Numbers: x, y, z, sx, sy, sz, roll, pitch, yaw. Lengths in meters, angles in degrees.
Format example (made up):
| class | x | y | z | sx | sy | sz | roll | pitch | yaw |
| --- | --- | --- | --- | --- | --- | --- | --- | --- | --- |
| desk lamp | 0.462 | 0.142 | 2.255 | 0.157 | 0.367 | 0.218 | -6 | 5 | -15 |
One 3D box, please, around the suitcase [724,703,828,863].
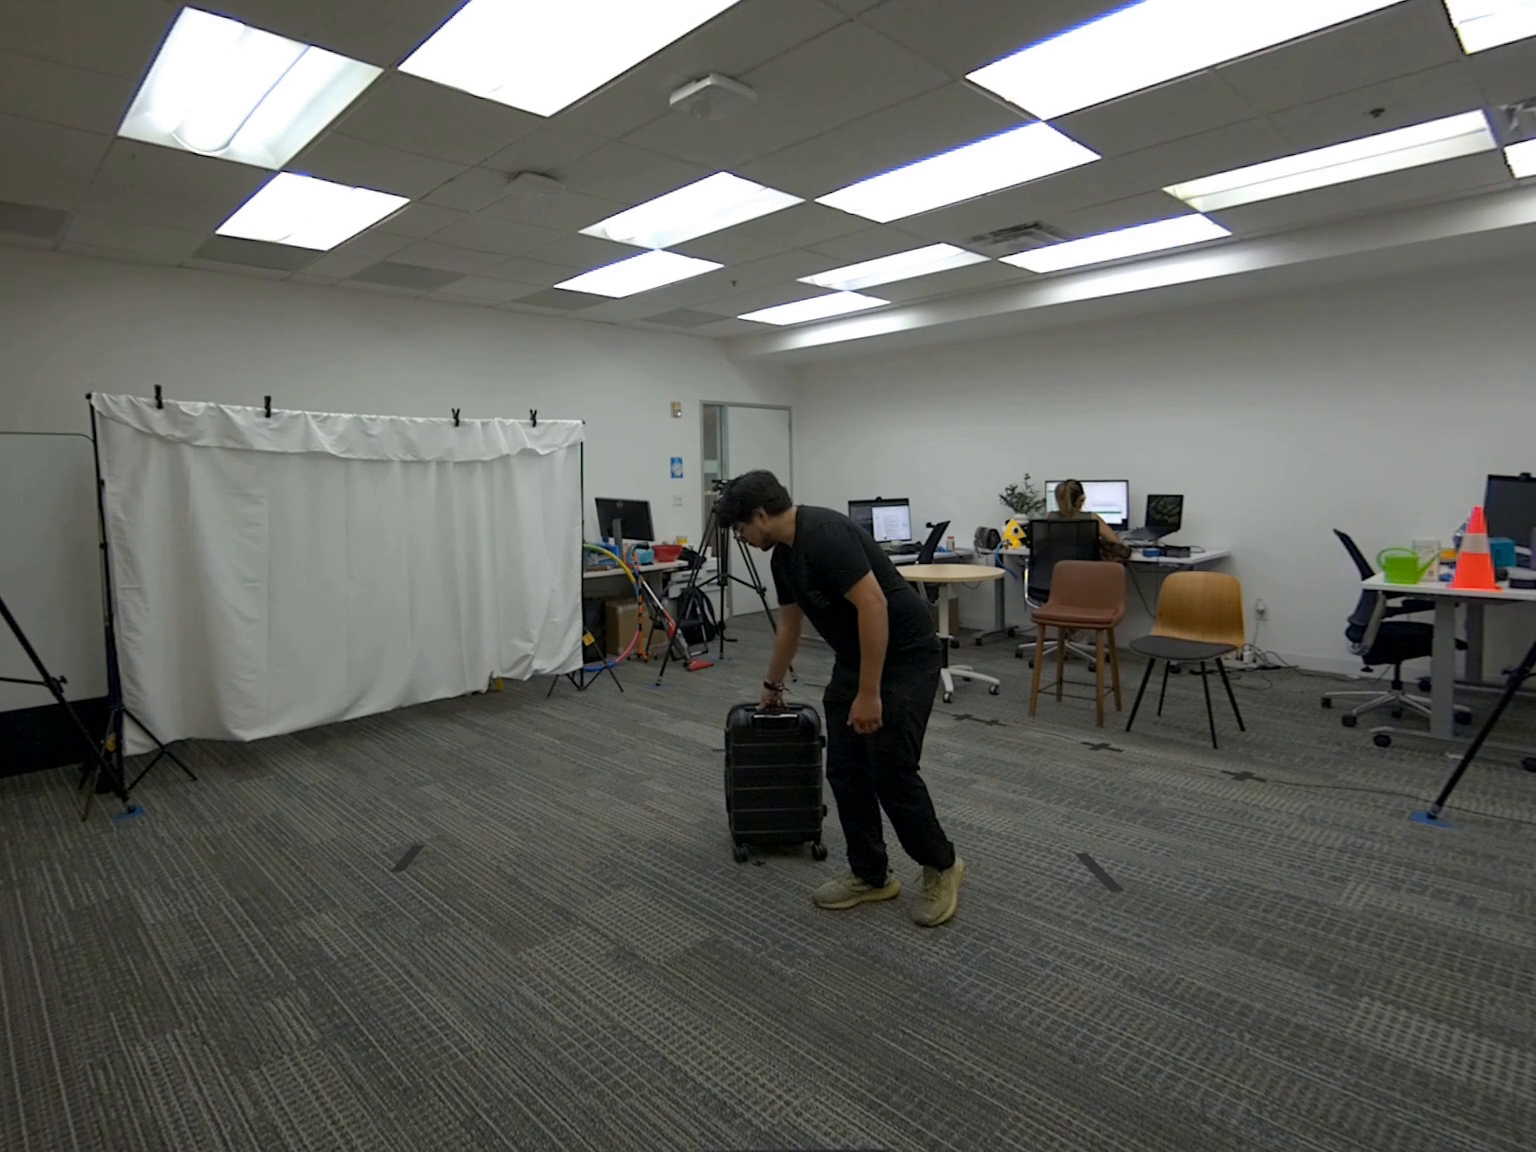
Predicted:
| class | x | y | z | sx | sy | sz | roll | pitch | yaw |
| --- | --- | --- | --- | --- | --- | --- | --- | --- | --- |
| suitcase | 0.030 | 0.759 | 3.251 | 0.375 | 0.548 | 0.249 | -1 | 2 | -2 |
